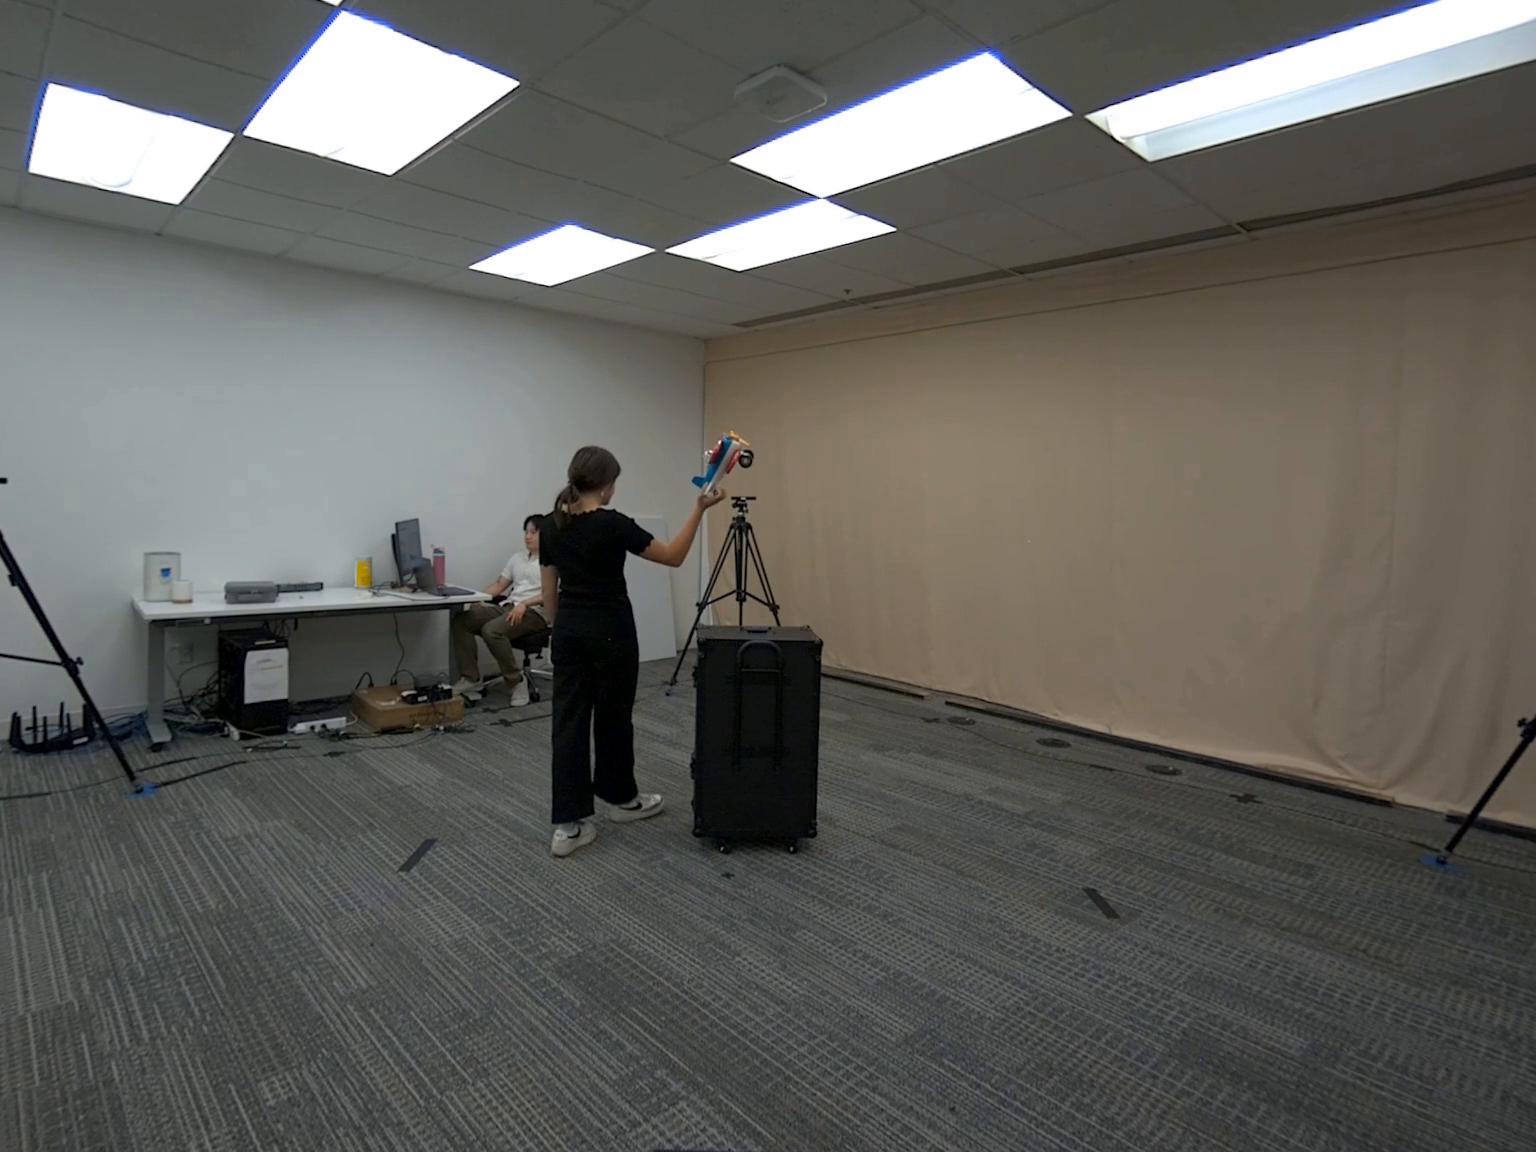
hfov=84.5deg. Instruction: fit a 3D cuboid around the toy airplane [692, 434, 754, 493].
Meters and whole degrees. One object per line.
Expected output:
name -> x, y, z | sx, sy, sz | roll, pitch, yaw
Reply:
toy airplane -> -0.185, -0.431, 3.283 | 0.155, 0.259, 0.253 | 43, -12, -10
